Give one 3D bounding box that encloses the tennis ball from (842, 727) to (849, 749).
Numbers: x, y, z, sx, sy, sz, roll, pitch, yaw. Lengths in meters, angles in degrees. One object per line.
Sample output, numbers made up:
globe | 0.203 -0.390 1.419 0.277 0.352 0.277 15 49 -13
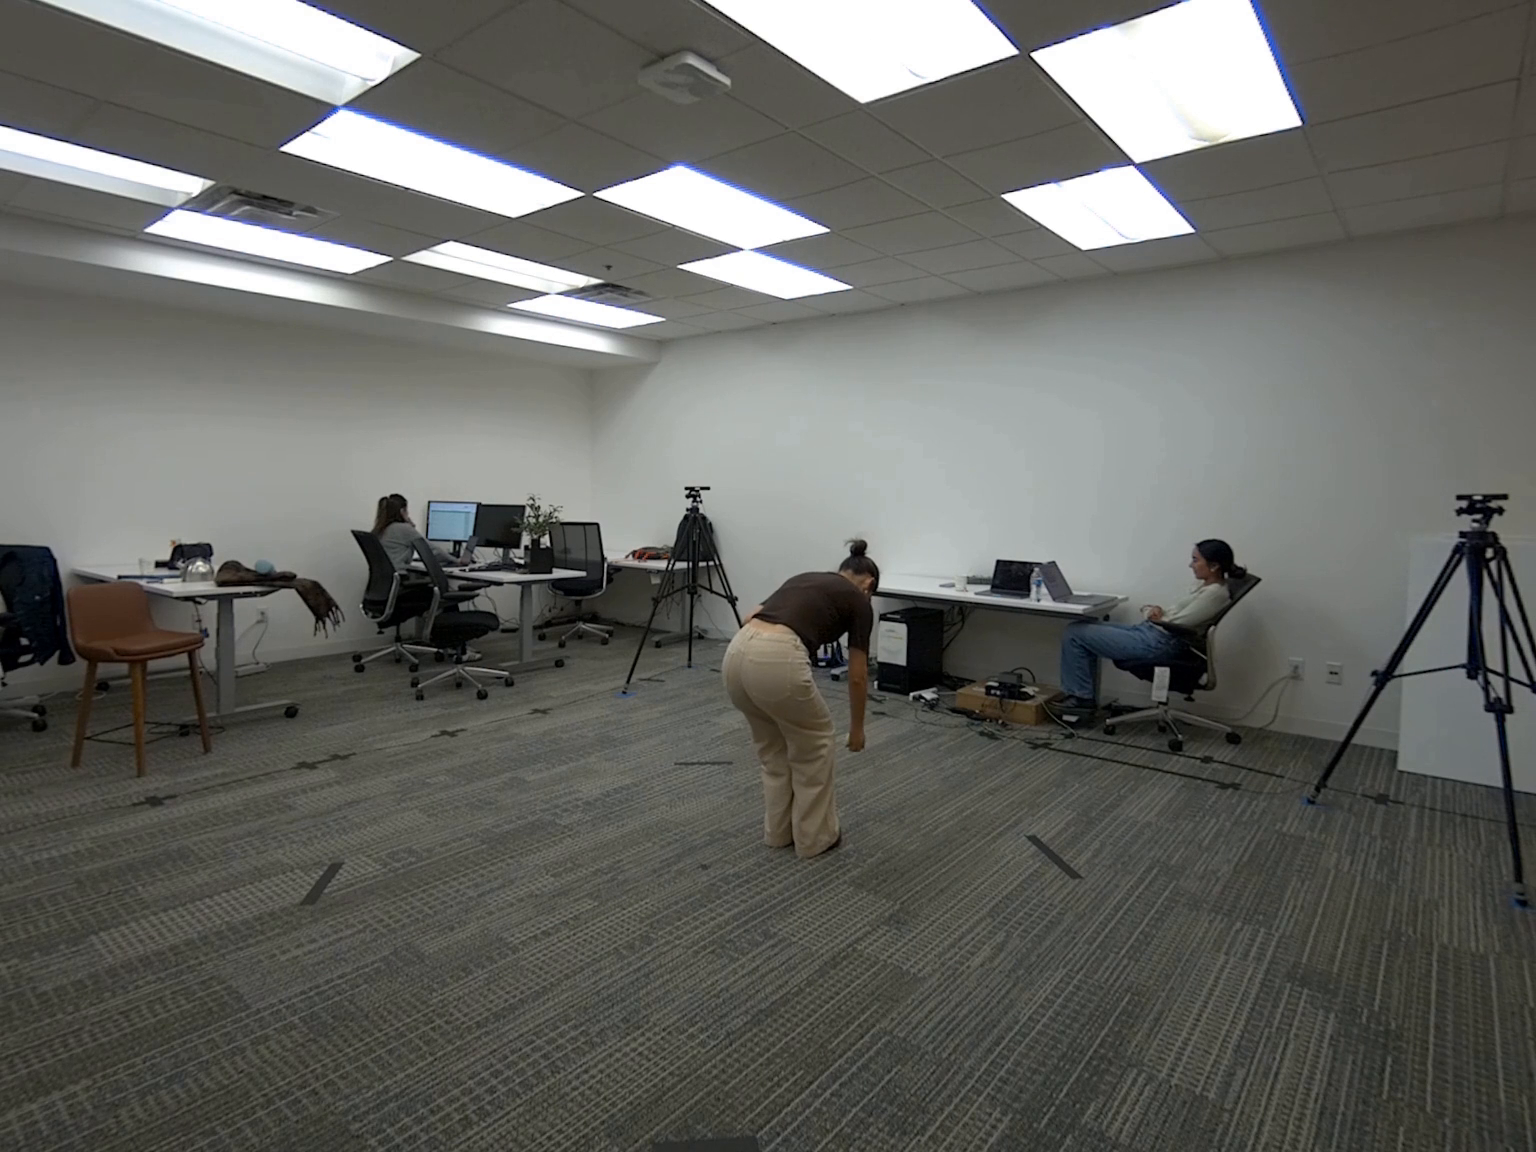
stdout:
tennis ball | 0.338 0.657 3.423 0.066 0.066 0.067 1 4 -2
